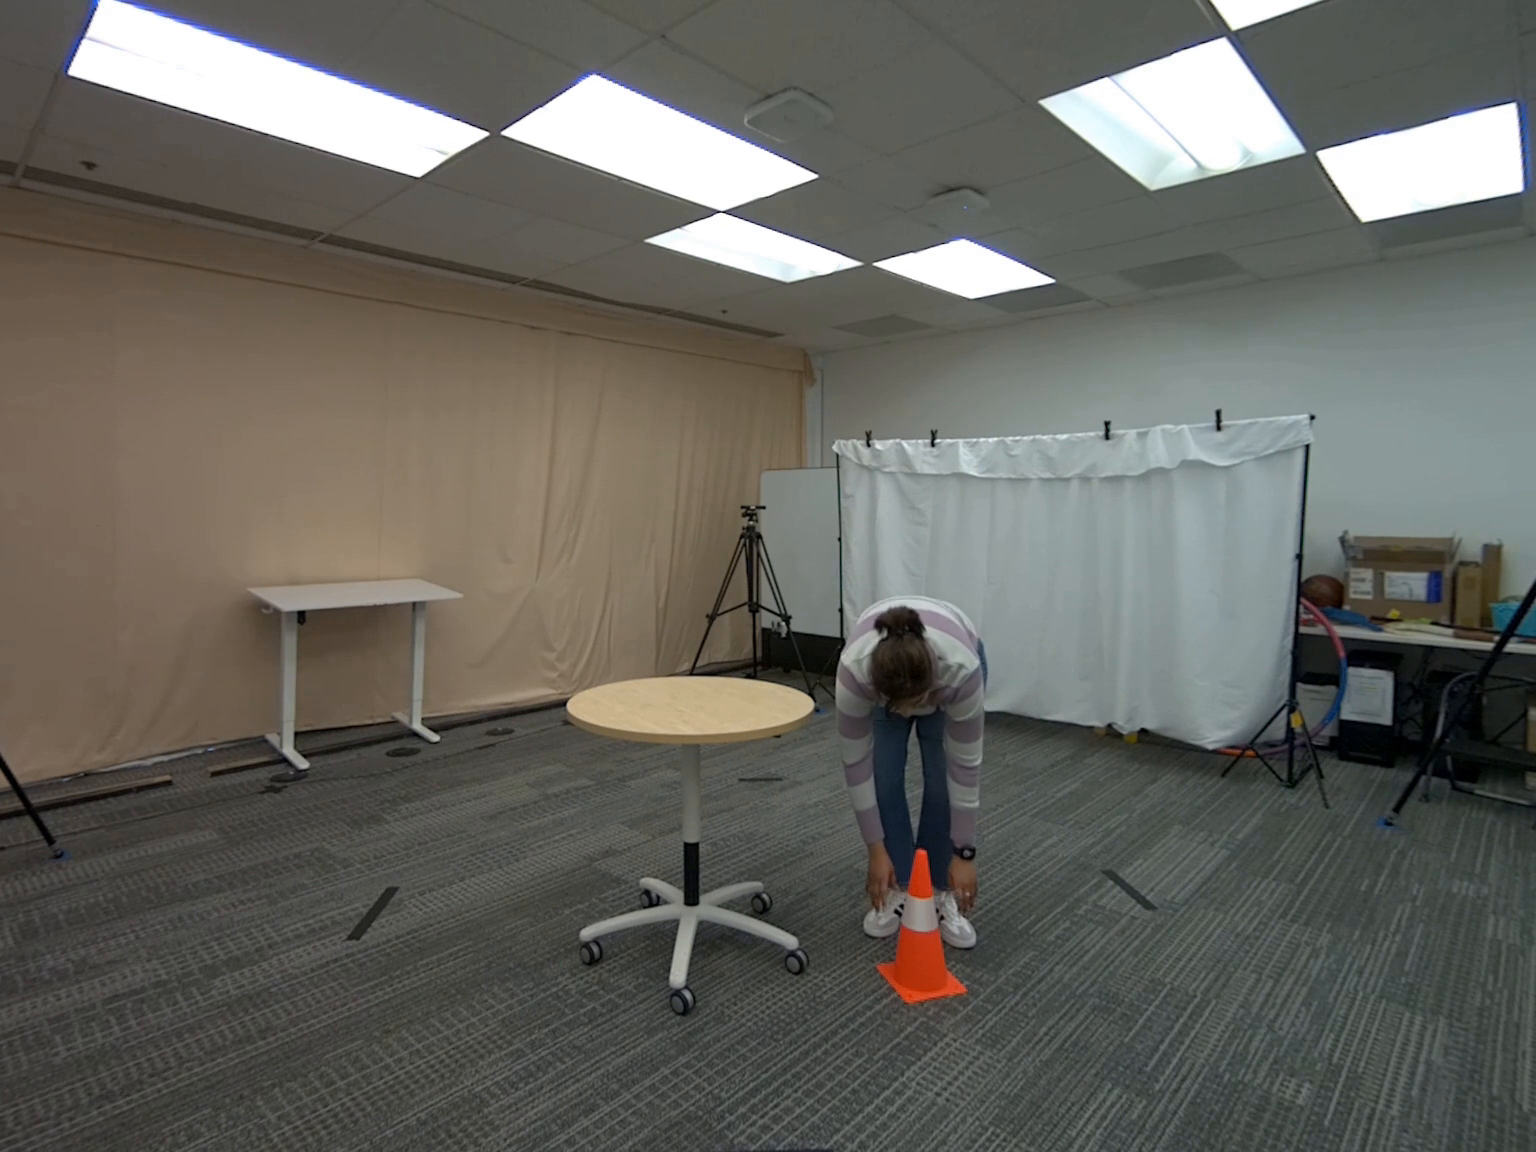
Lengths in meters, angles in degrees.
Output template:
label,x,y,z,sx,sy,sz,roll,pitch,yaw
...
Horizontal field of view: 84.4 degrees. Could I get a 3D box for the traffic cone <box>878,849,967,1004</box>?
label,x,y,z,sx,sy,sz,roll,pitch,yaw
traffic cone,0.448,1.001,2.477,0.199,0.383,0.210,-1,3,-24
